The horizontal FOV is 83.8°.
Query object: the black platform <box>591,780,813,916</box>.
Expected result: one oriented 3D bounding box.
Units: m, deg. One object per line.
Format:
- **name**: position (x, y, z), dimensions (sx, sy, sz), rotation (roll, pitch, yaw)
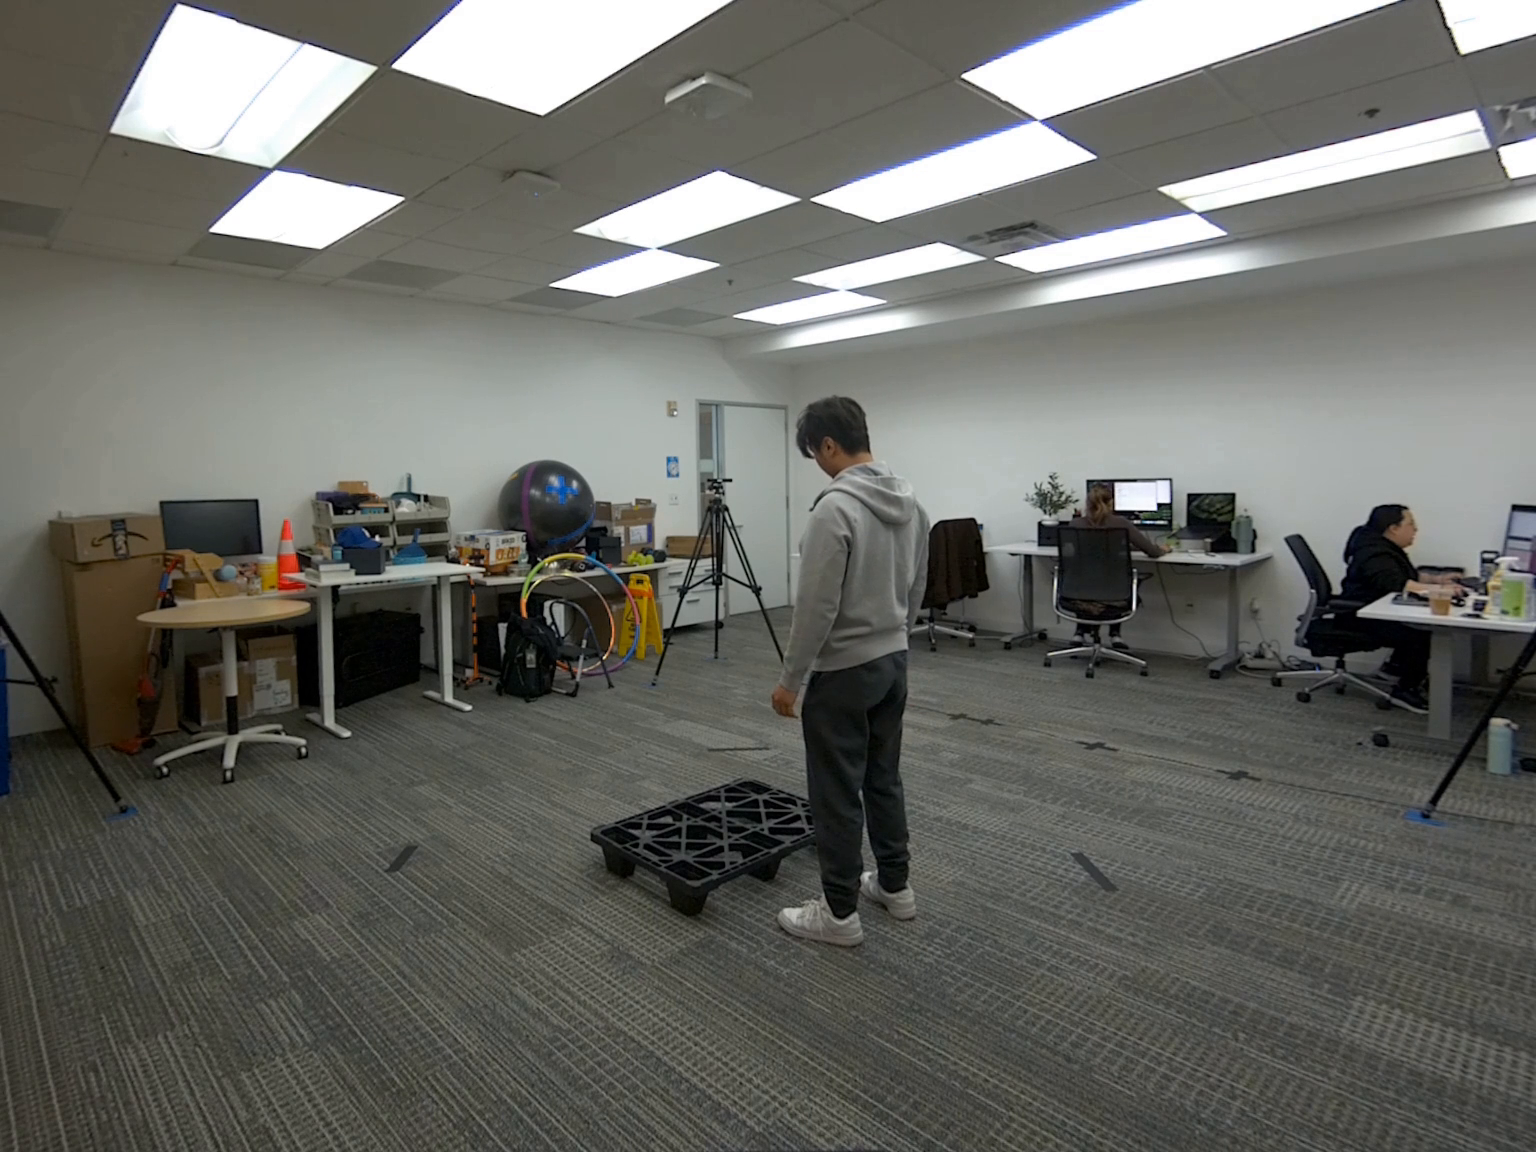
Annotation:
- **black platform**: position (-0.153, 0.977, 3.150), dimensions (0.784, 0.142, 0.624), rotation (-7, 9, -44)
